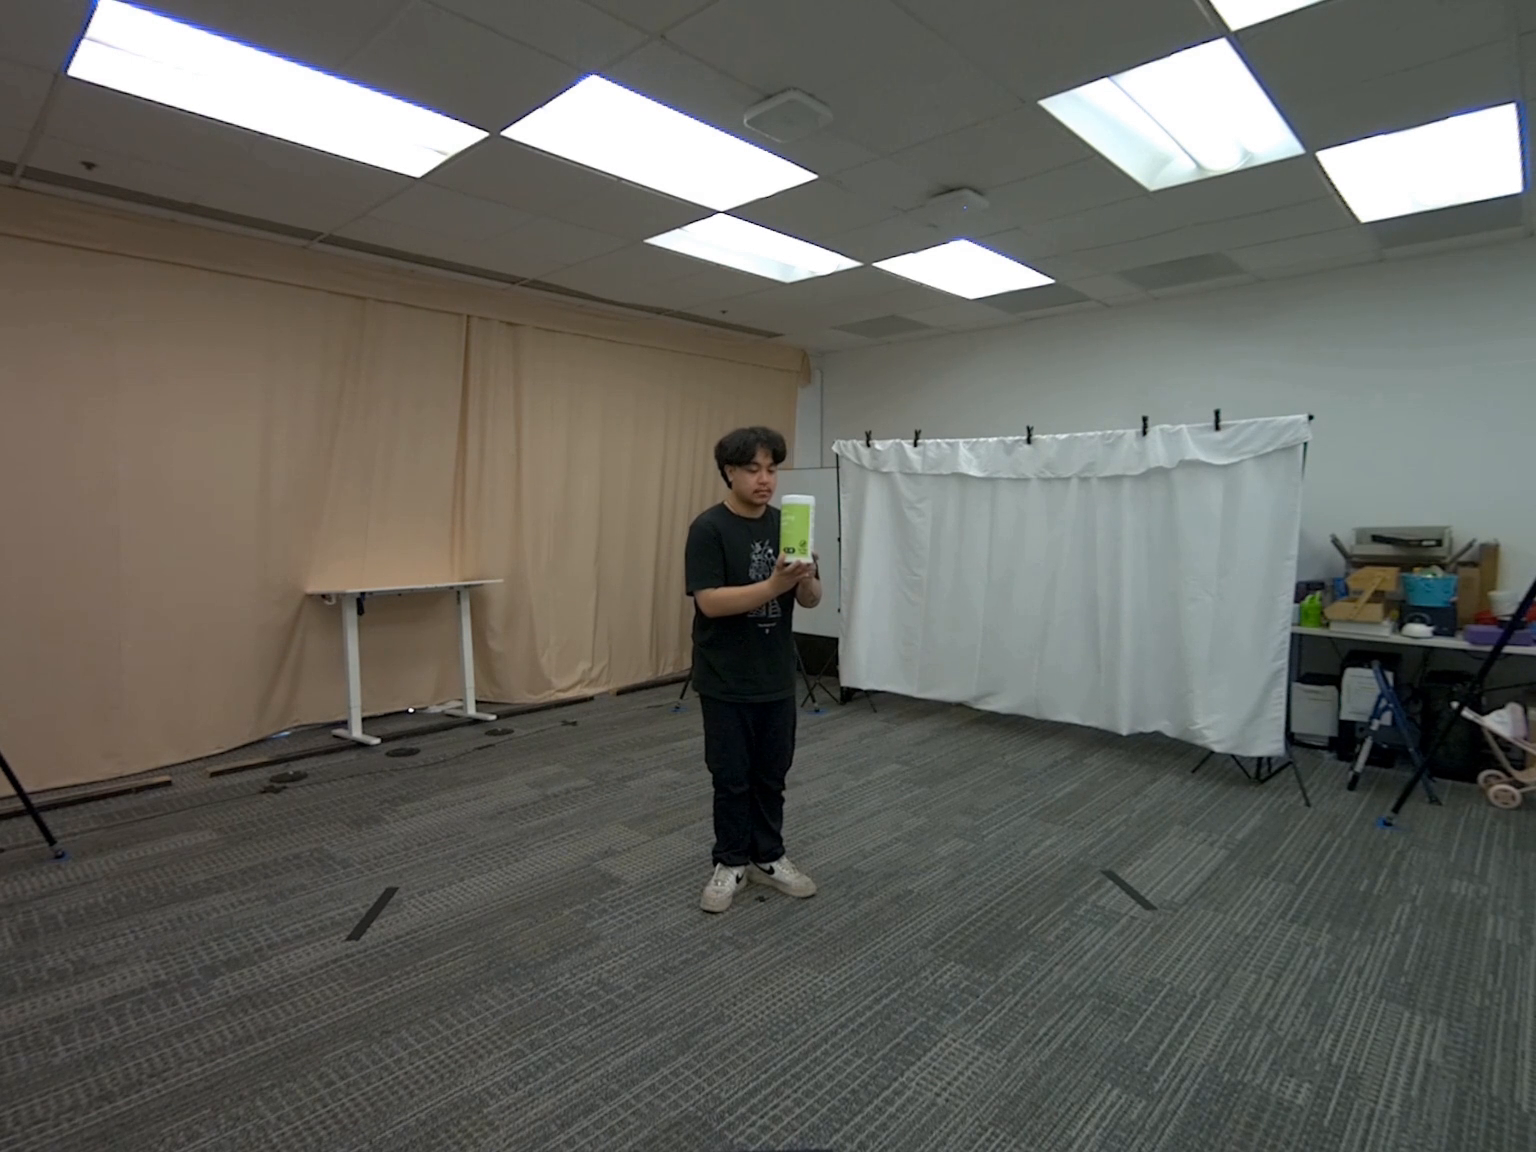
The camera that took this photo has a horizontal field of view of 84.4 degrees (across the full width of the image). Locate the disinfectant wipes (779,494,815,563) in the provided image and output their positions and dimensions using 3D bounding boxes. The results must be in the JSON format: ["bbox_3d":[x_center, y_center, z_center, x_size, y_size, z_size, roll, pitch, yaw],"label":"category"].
[{"bbox_3d":[0.096,-0.145,2.678,0.118,0.218,0.118,2,-1,-2],"label":"disinfectant wipes"}]
